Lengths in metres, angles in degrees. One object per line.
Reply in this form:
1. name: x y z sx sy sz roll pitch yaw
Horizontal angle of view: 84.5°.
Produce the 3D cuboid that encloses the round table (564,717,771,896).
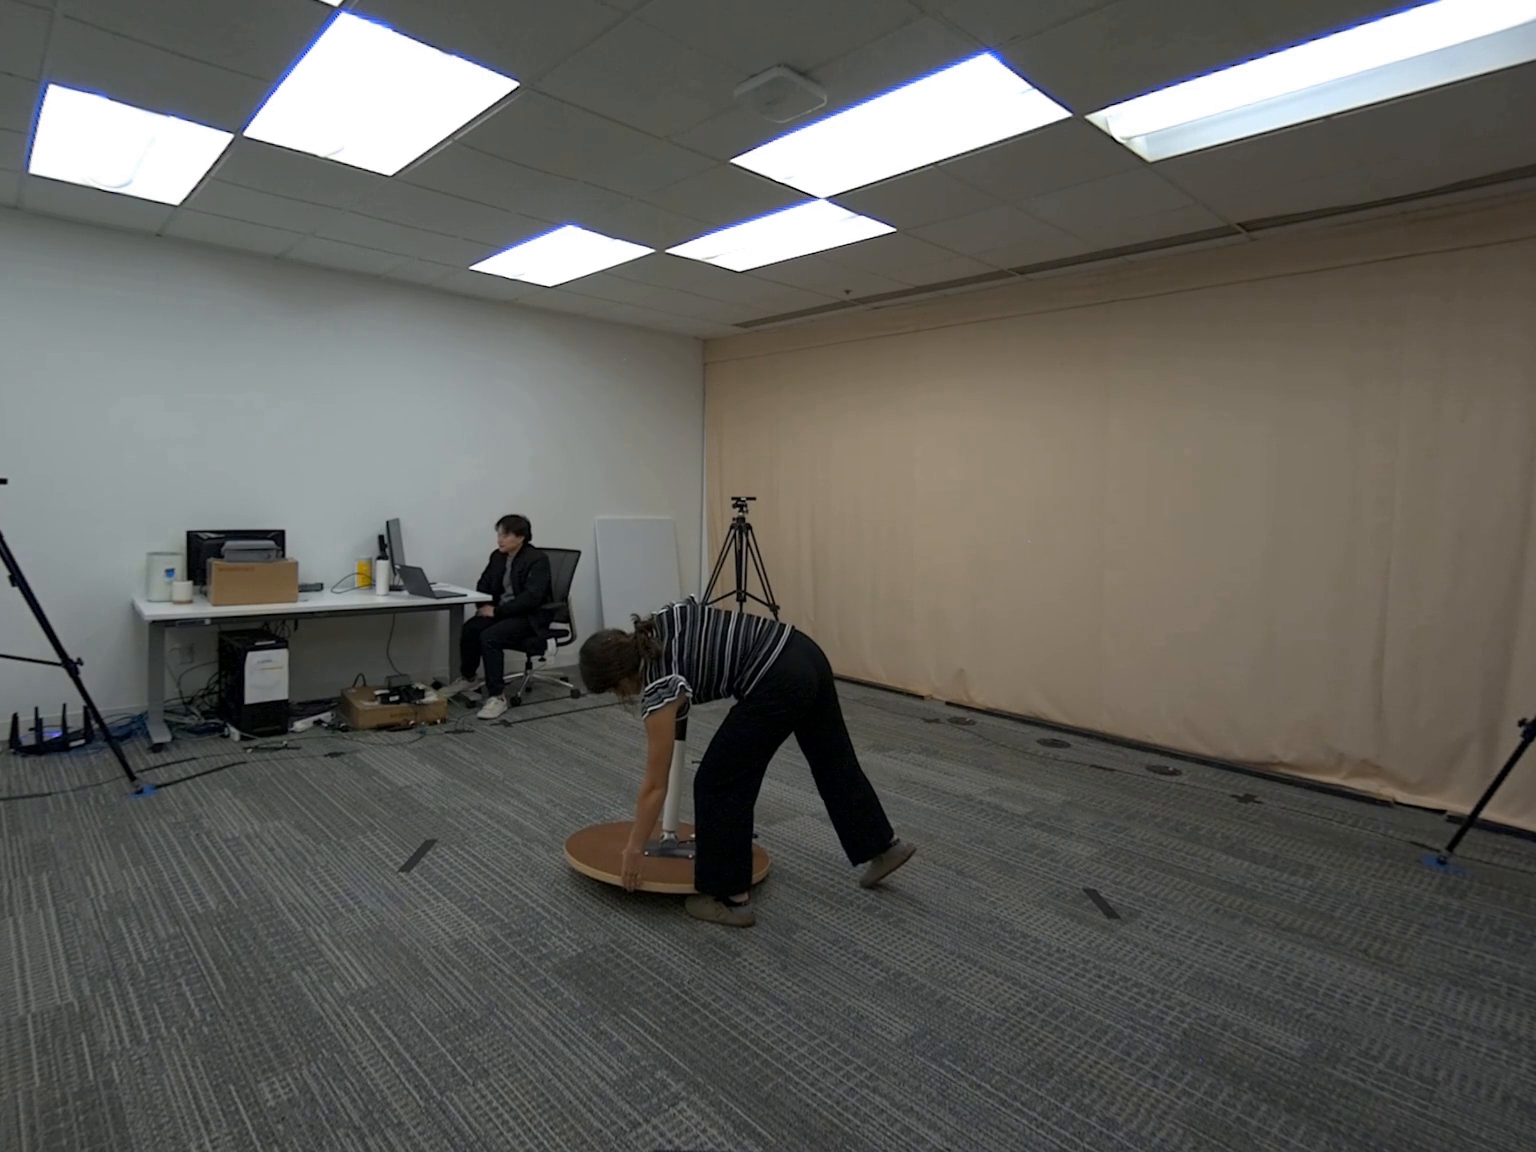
1. round table: -0.345 0.655 3.168 0.764 0.795 0.763 5 -2 -1
